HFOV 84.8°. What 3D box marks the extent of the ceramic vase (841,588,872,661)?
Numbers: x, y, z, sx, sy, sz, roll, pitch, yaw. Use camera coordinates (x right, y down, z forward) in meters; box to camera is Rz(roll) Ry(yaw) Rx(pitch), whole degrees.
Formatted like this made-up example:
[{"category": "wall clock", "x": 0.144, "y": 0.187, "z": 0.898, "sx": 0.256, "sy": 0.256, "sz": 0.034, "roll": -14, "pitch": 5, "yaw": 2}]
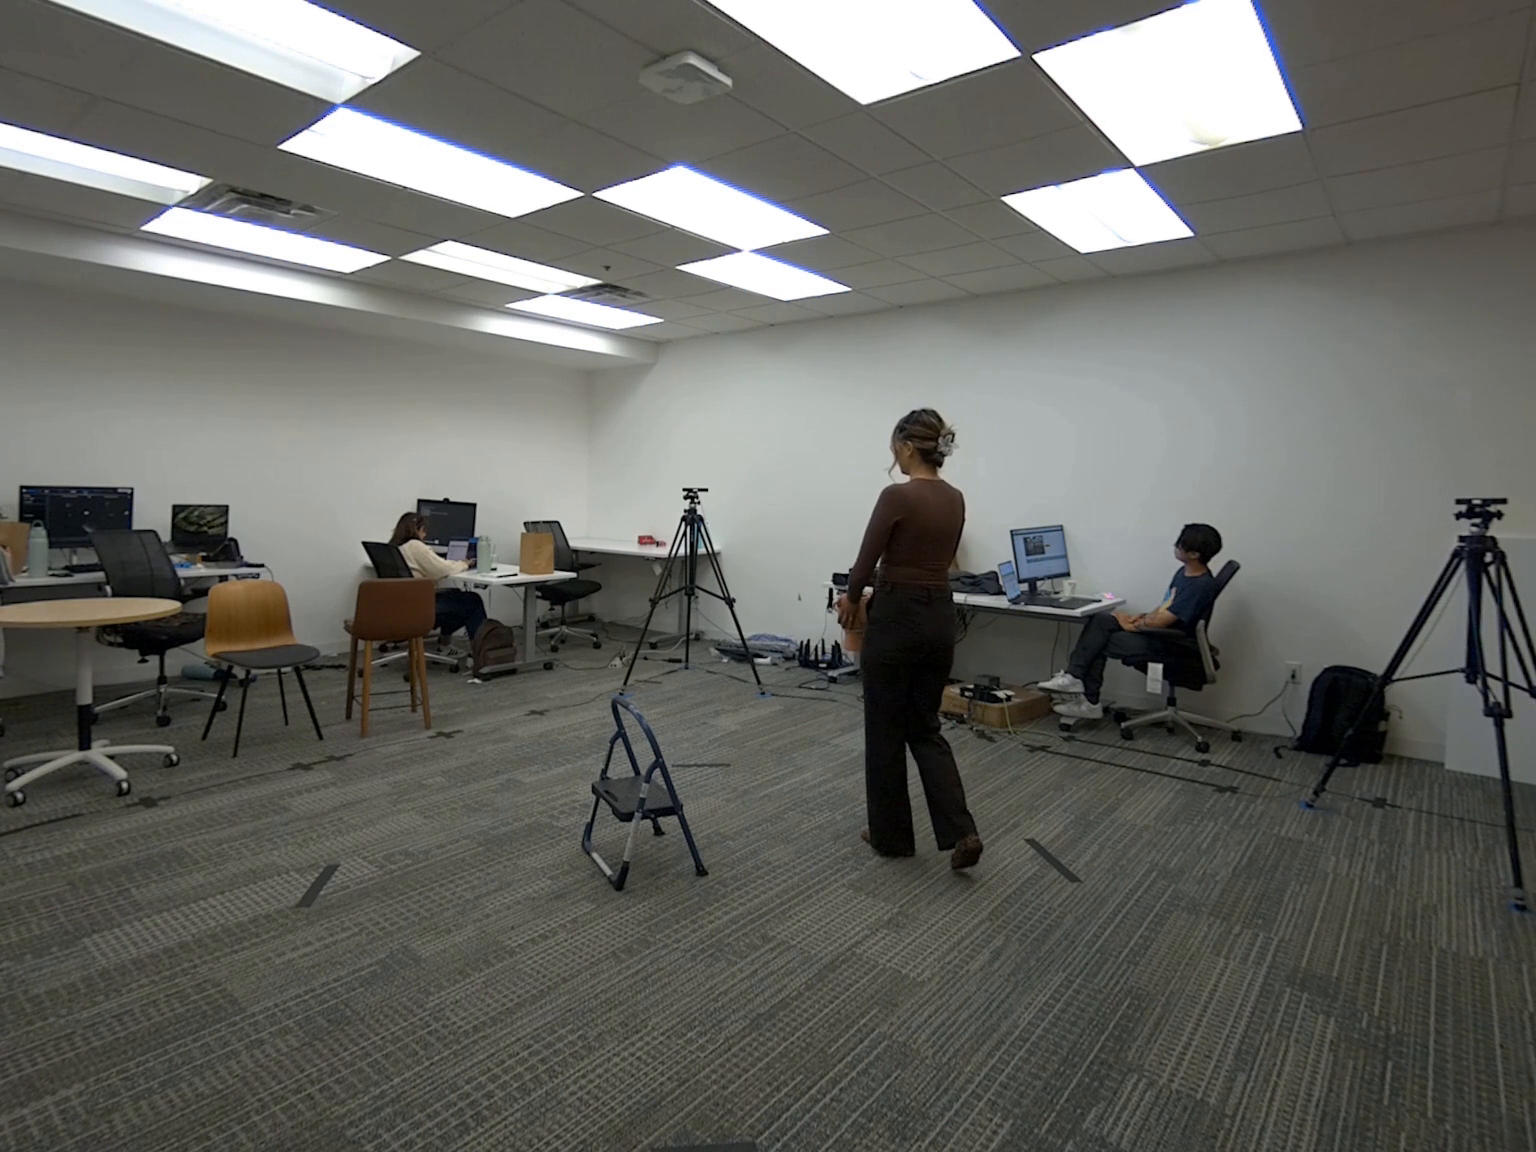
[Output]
[{"category": "ceramic vase", "x": 0.347, "y": 0.189, "z": 3.486, "sx": 0.133, "sy": 0.219, "sz": 0.162, "roll": -2, "pitch": 6, "yaw": -13}]
